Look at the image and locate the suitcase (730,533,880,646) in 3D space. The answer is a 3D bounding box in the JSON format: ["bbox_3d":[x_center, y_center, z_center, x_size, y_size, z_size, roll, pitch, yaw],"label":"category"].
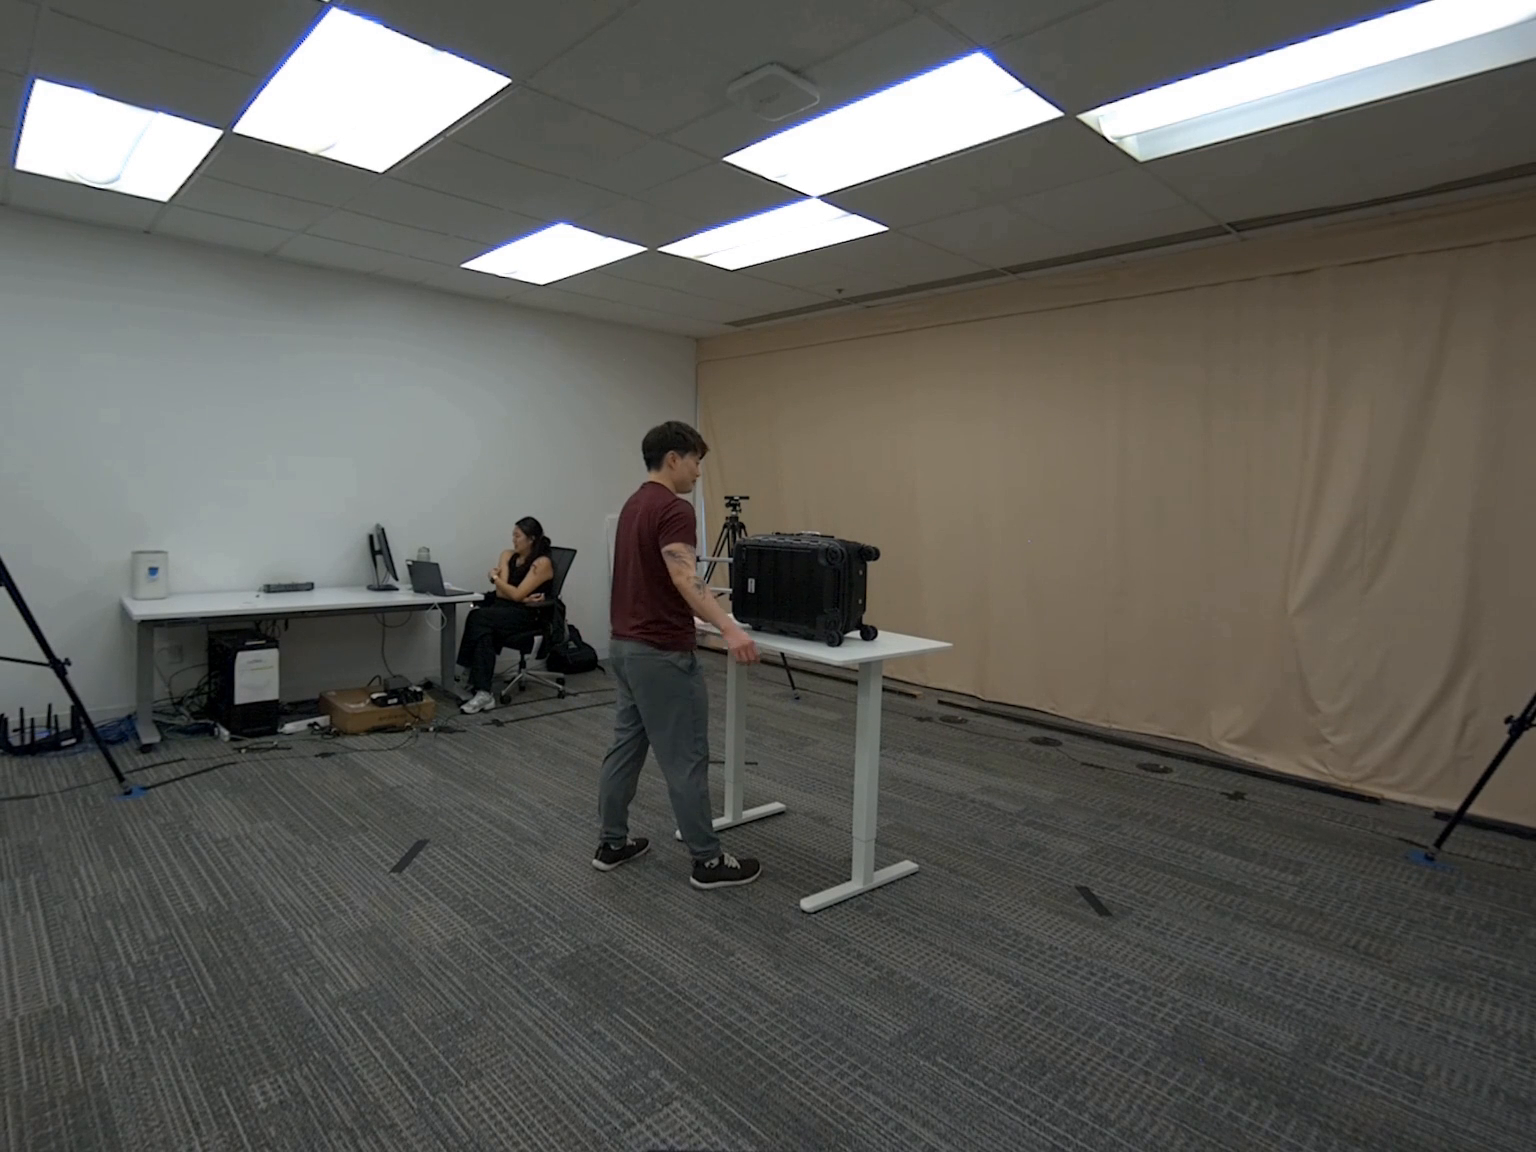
[{"bbox_3d":[-0.039,0.018,3.322,1.004,0.383,0.251,7,6,43],"label":"suitcase"}]
